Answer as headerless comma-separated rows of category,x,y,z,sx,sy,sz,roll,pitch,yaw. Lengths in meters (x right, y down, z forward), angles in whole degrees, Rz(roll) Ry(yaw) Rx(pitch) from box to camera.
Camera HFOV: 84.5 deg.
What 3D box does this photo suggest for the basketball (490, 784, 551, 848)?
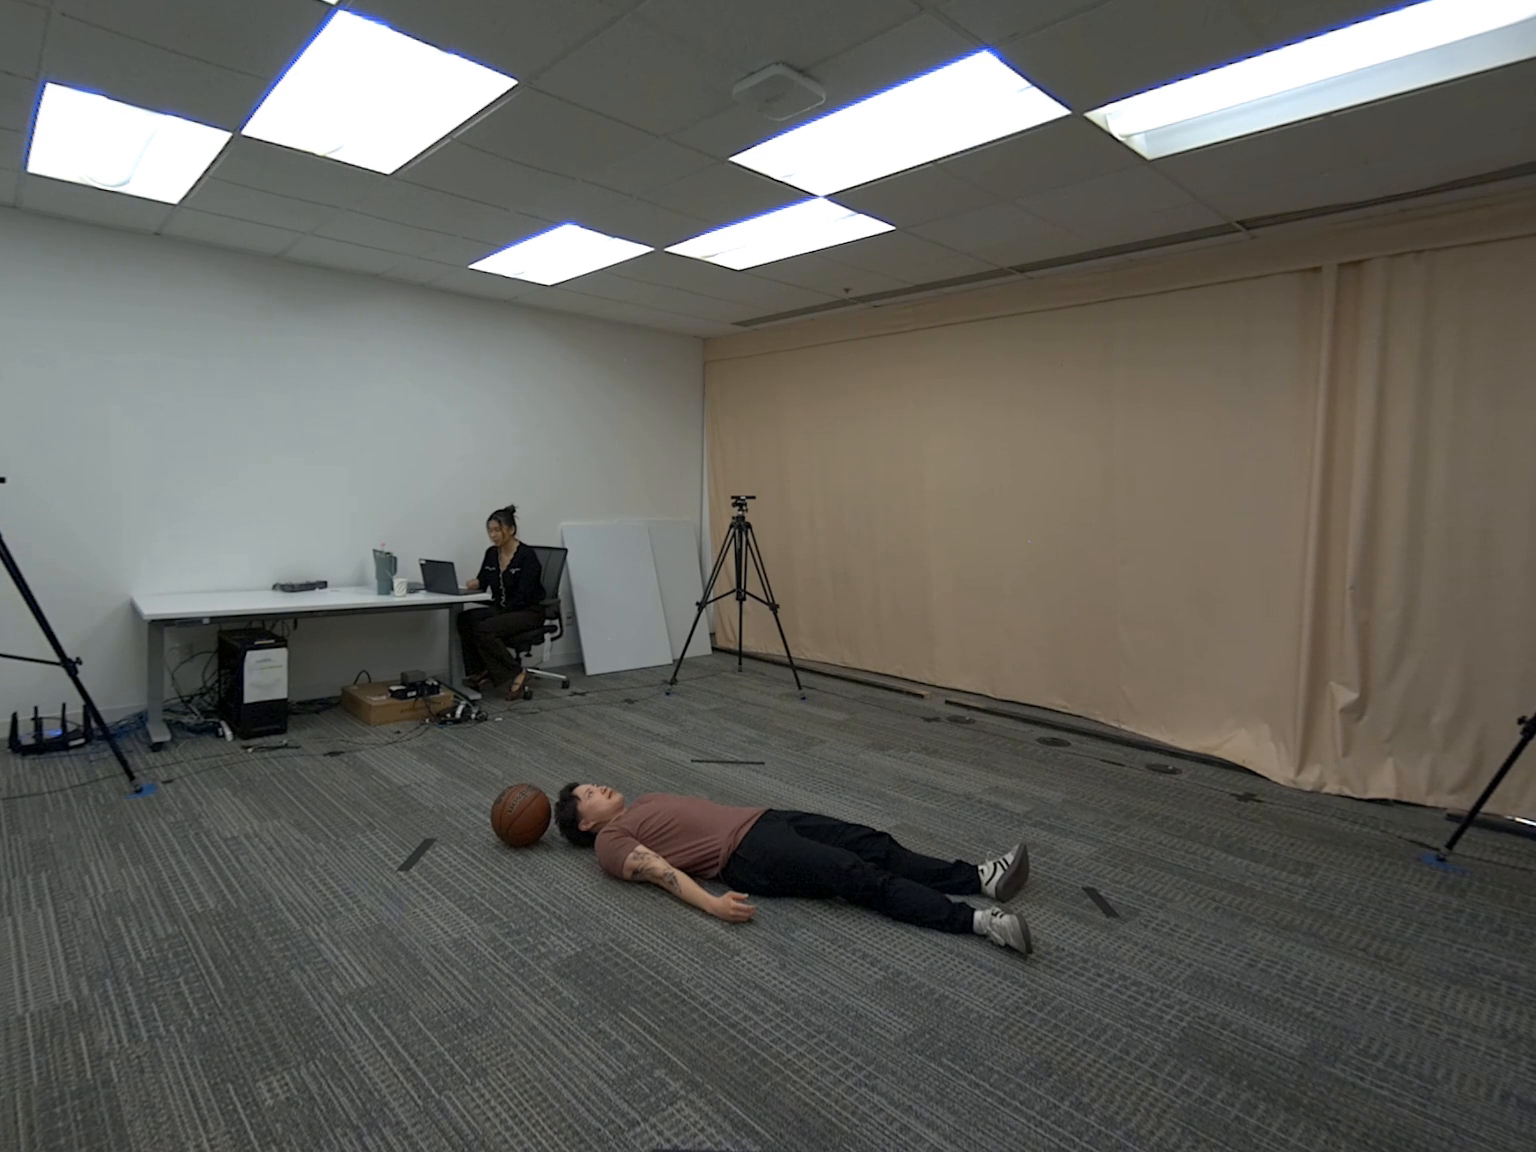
basketball,-0.985,0.943,3.328,0.236,0.234,0.237,0,8,-1
